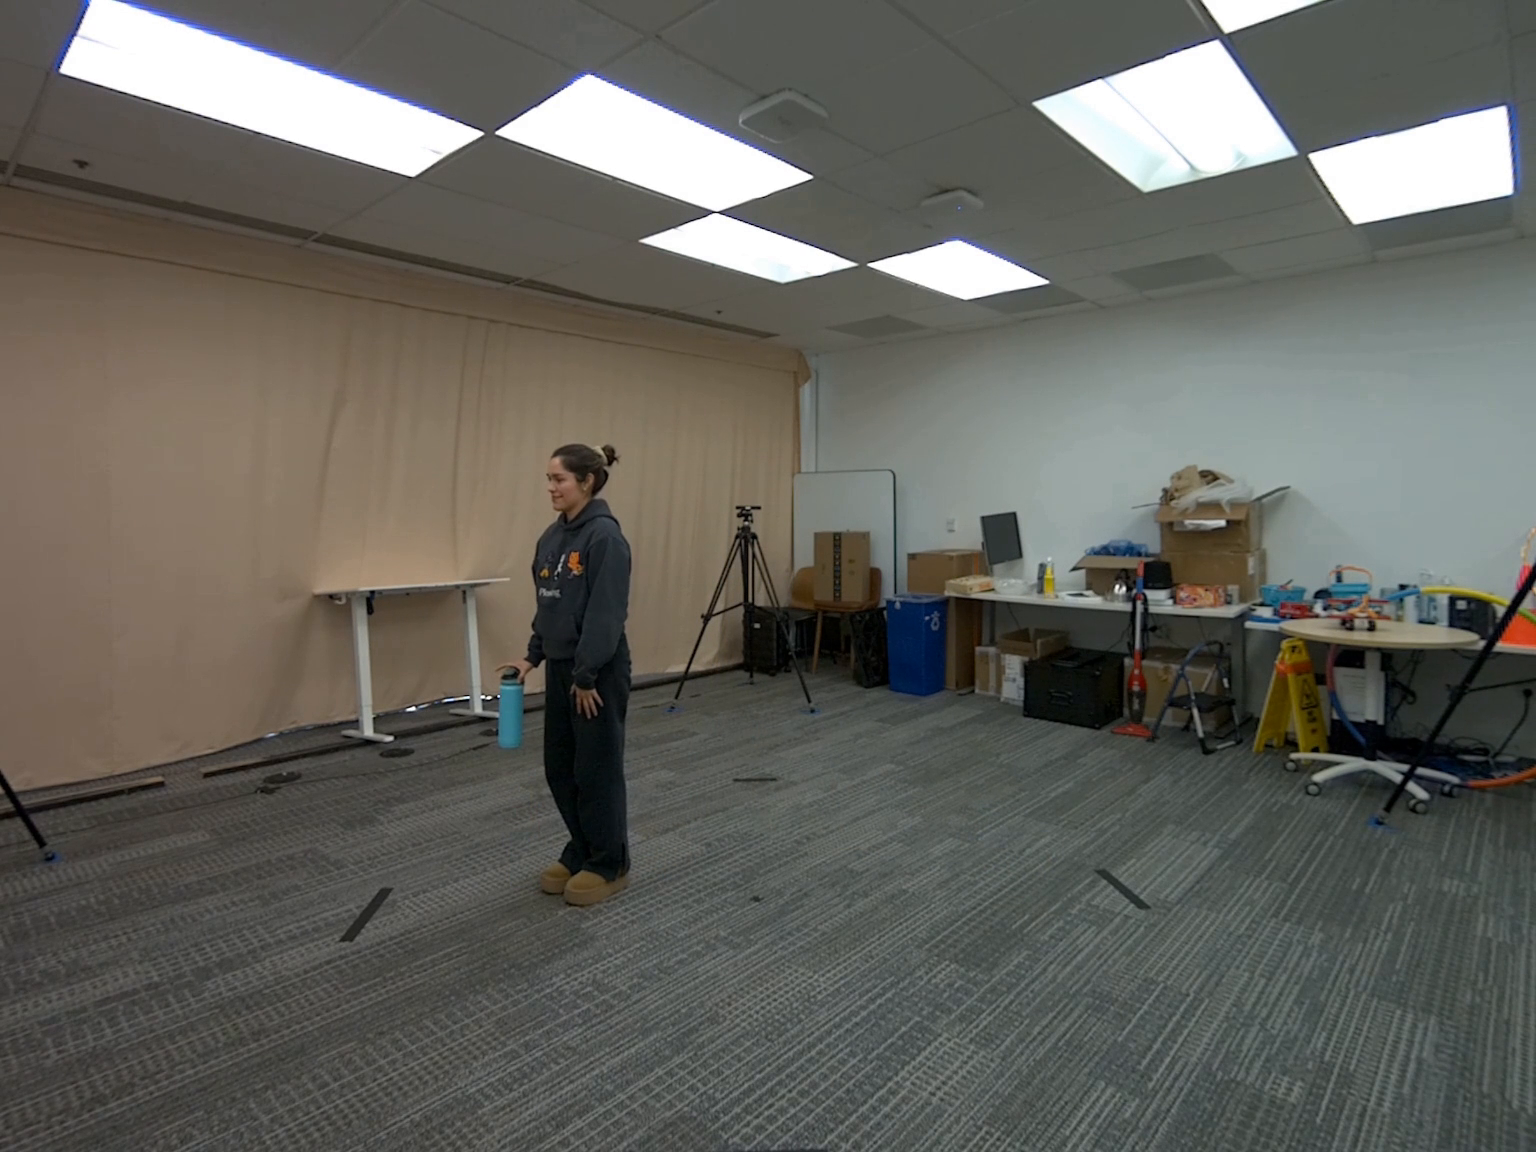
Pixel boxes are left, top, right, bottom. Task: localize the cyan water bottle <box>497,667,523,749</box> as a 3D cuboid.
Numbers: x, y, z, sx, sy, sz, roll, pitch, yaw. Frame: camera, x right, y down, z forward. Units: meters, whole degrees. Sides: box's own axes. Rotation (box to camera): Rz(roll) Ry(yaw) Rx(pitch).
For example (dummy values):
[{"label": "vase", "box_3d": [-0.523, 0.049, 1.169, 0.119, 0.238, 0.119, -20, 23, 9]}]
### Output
[{"label": "cyan water bottle", "box_3d": [-0.943, 0.495, 3.134, 0.092, 0.283, 0.092, 1, 2, -2]}]
